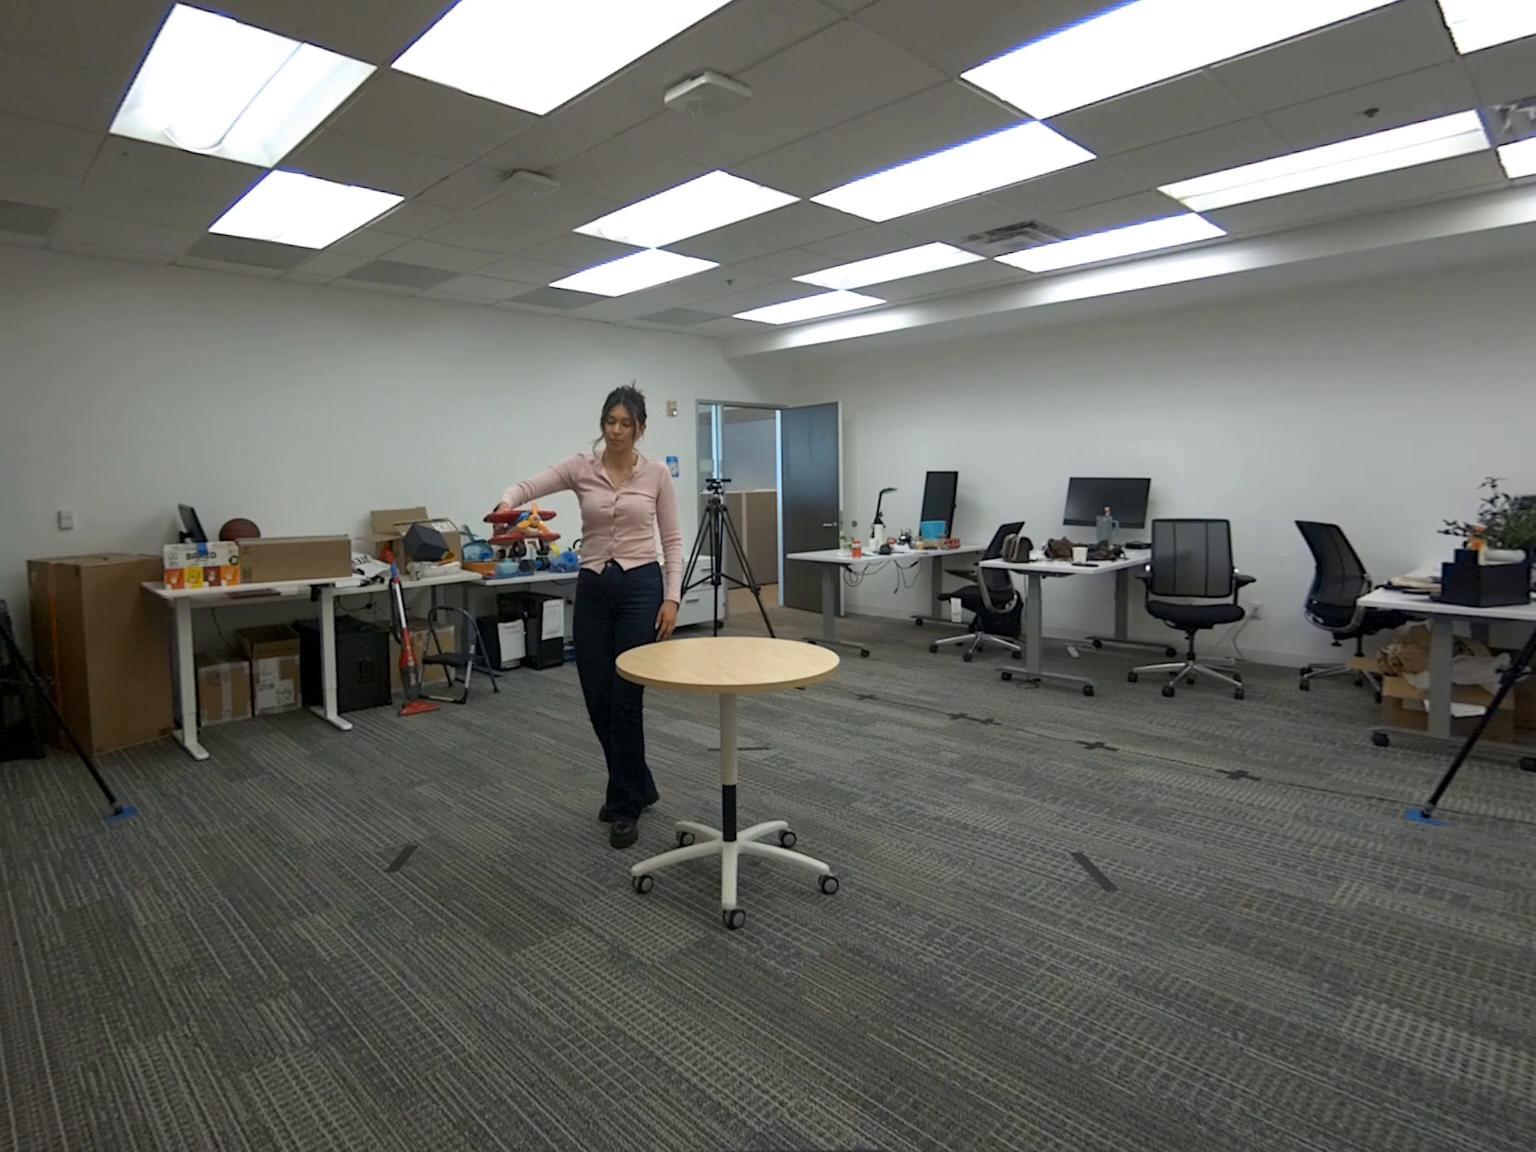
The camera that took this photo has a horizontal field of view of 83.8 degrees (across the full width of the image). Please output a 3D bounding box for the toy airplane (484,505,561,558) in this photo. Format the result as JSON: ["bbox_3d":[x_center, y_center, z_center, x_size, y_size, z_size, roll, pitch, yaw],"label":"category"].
[{"bbox_3d":[-0.858,-0.137,2.867,0.264,0.156,0.246,-3,1,21],"label":"toy airplane"}]
